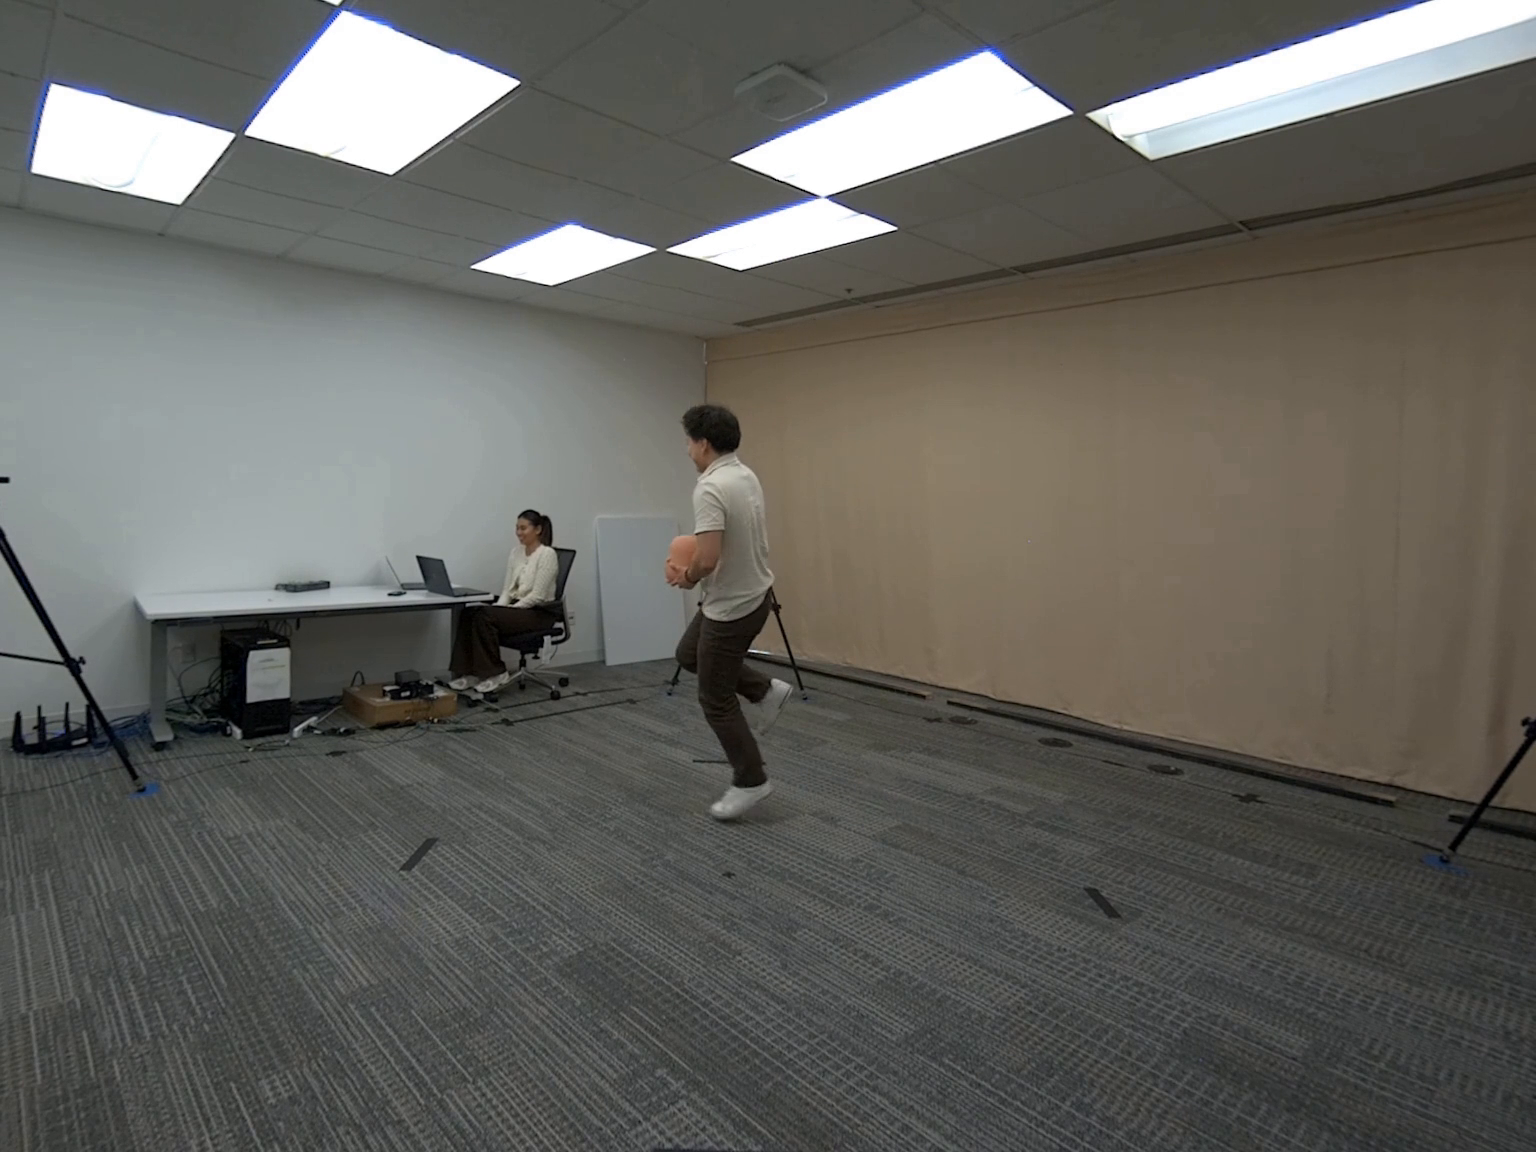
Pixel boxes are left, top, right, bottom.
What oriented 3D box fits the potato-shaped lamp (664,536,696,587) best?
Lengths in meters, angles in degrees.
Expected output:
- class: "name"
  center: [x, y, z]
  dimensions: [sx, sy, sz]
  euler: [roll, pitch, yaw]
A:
- class: "potato-shaped lamp"
  center: [-0.354, -0.032, 3.531]
  dimensions: [0.173, 0.196, 0.164]
  euler: [-1, 12, 14]
